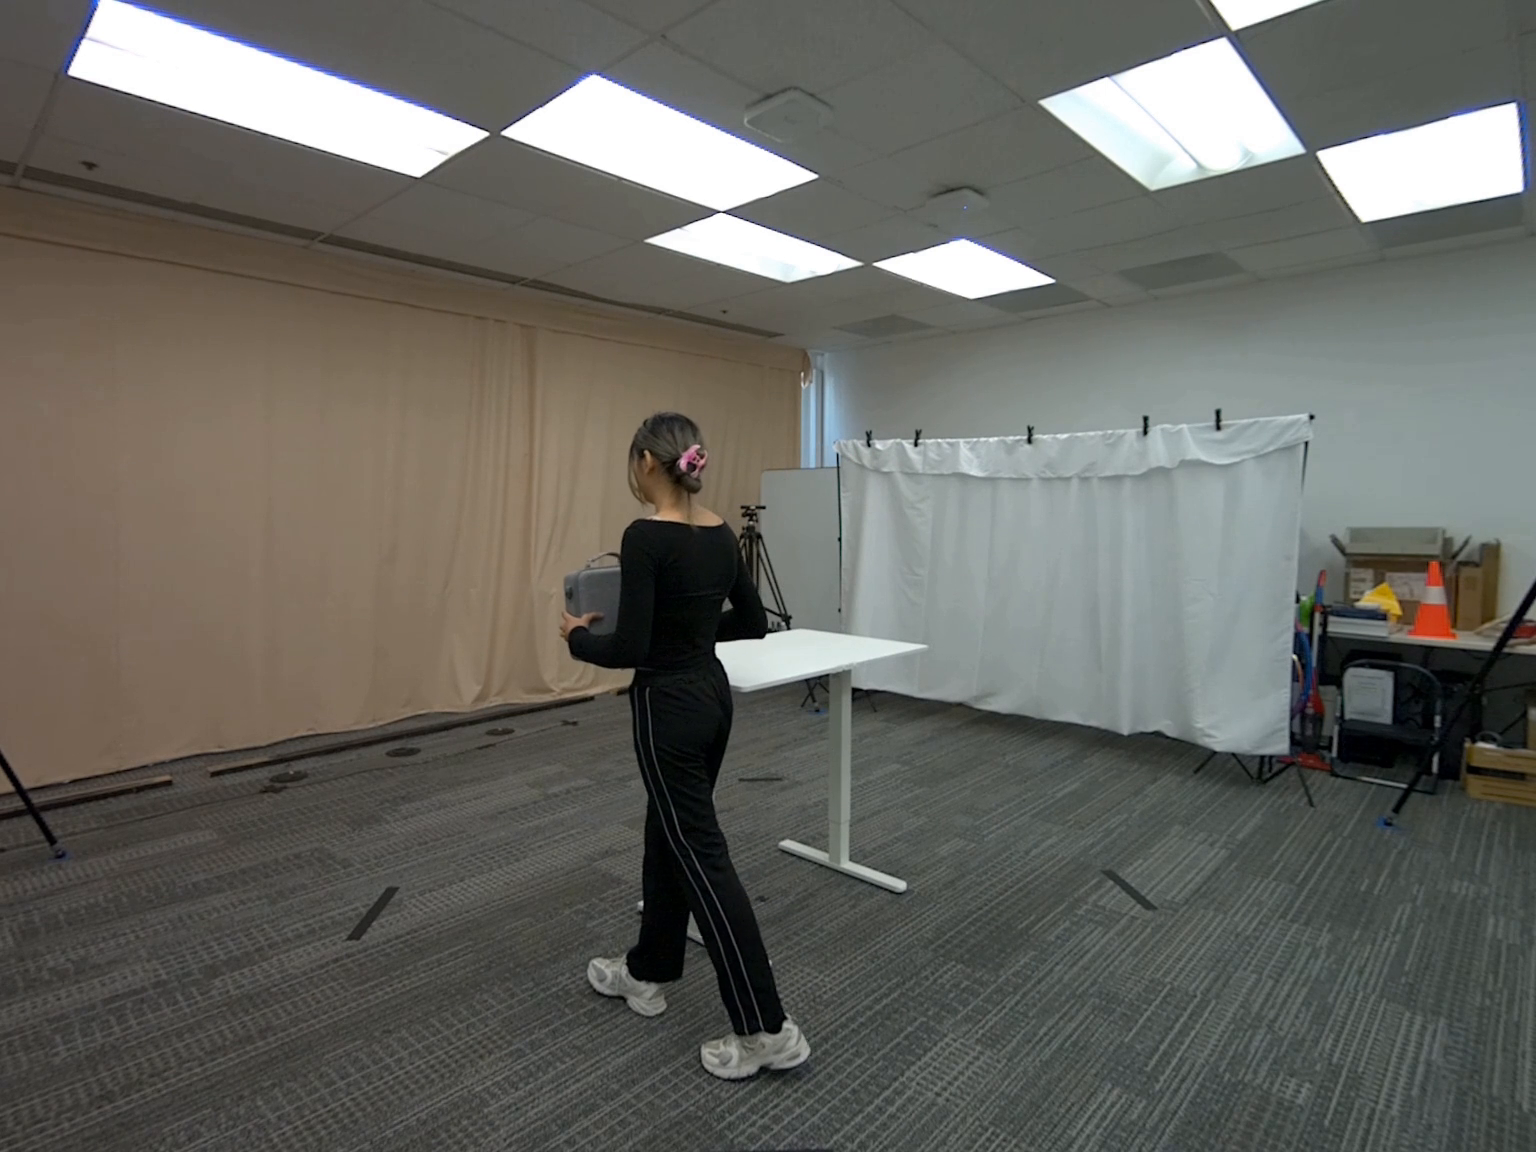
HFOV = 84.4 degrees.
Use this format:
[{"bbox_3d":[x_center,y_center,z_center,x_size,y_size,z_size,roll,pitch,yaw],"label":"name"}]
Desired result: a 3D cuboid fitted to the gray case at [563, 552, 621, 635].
[{"bbox_3d":[-0.436,0.097,2.346,0.107,0.261,0.249,-6,-1,45],"label":"gray case"}]
